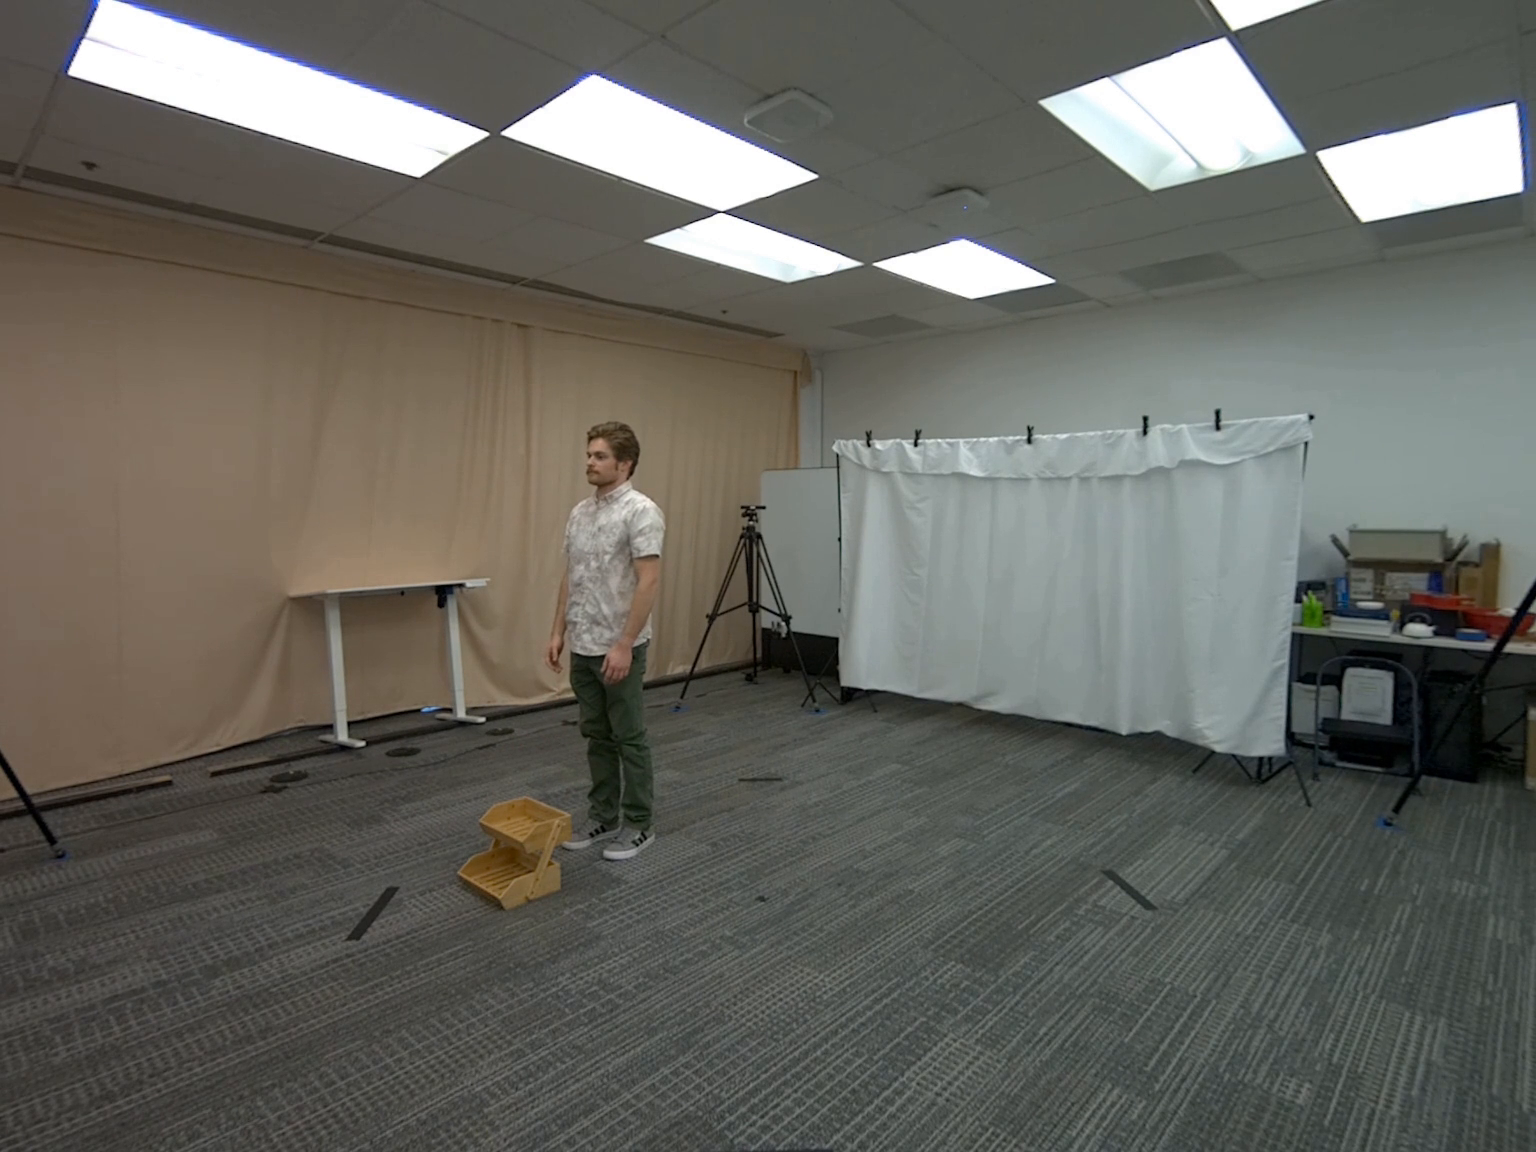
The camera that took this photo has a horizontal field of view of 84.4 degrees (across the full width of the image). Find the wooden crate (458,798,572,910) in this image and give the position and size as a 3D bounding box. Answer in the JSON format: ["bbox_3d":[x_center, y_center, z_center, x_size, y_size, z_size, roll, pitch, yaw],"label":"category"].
[{"bbox_3d":[-0.940,1.010,3.107,0.335,0.273,0.292,3,4,42],"label":"wooden crate"}]
